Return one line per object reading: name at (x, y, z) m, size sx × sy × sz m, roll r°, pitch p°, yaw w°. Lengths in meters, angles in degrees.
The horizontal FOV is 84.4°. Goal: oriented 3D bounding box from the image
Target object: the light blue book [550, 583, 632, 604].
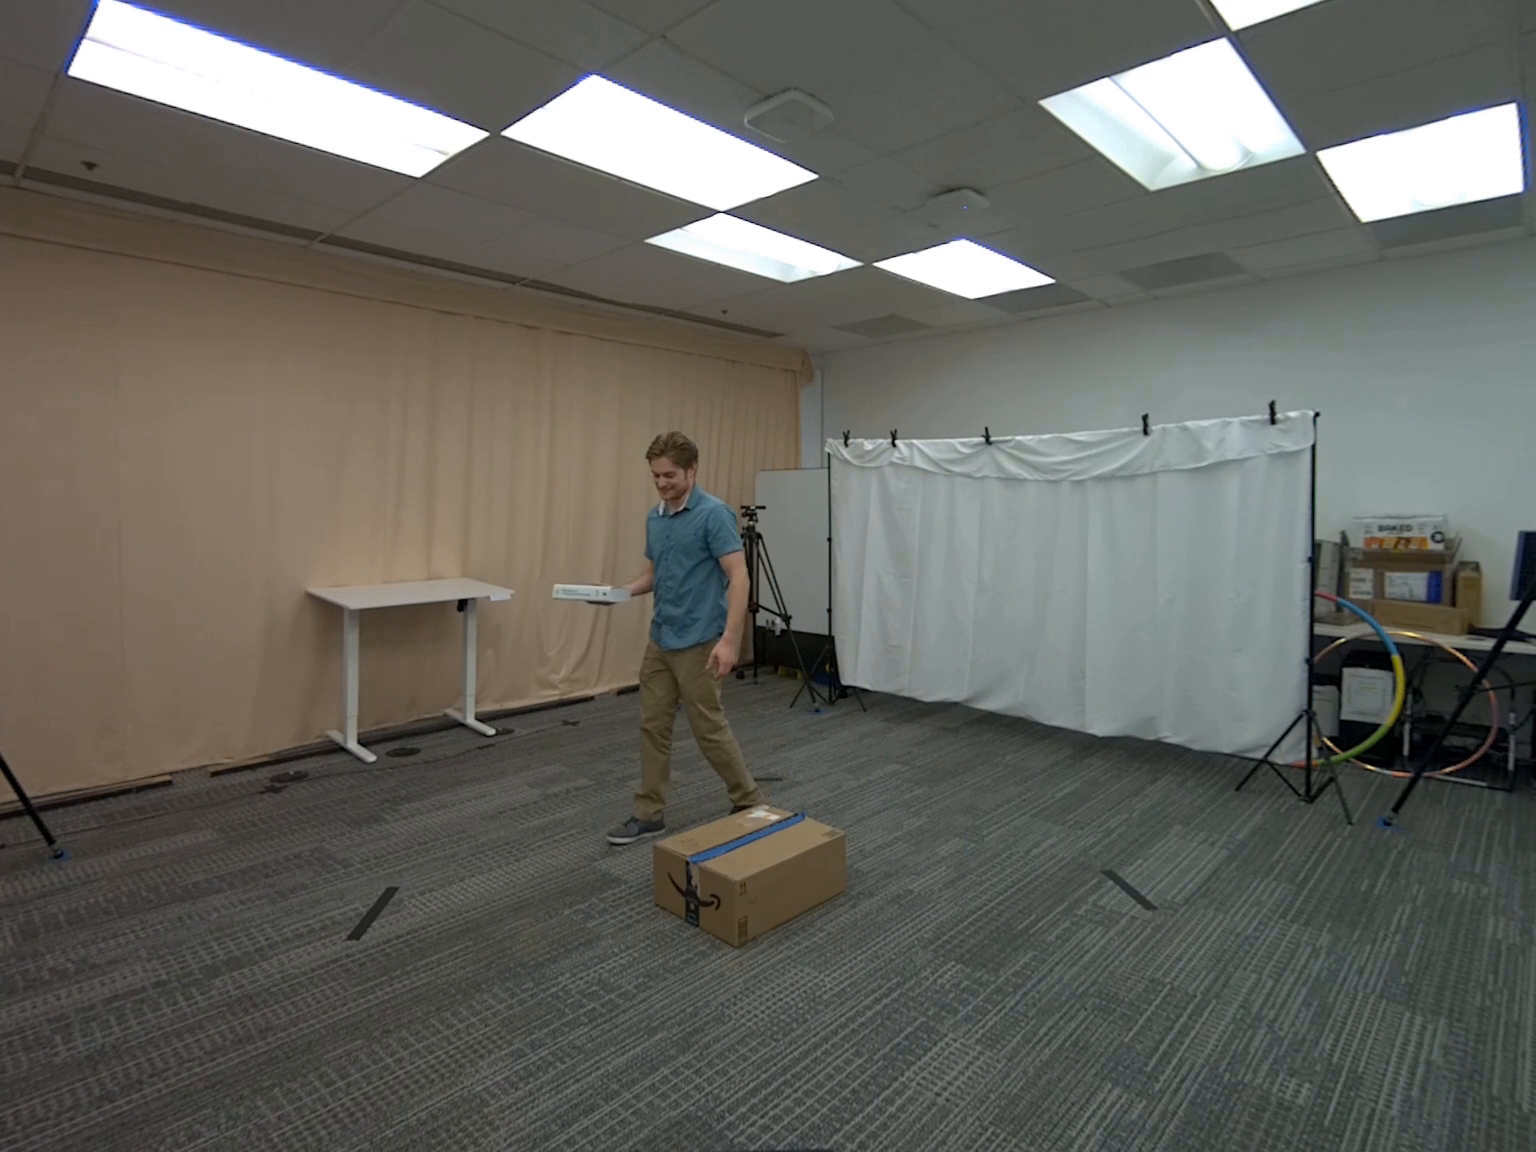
light blue book at (-0.713, 0.068, 3.412) m, size 0.267 × 0.059 × 0.187 m, roll 2°, pitch -3°, yaw 20°
